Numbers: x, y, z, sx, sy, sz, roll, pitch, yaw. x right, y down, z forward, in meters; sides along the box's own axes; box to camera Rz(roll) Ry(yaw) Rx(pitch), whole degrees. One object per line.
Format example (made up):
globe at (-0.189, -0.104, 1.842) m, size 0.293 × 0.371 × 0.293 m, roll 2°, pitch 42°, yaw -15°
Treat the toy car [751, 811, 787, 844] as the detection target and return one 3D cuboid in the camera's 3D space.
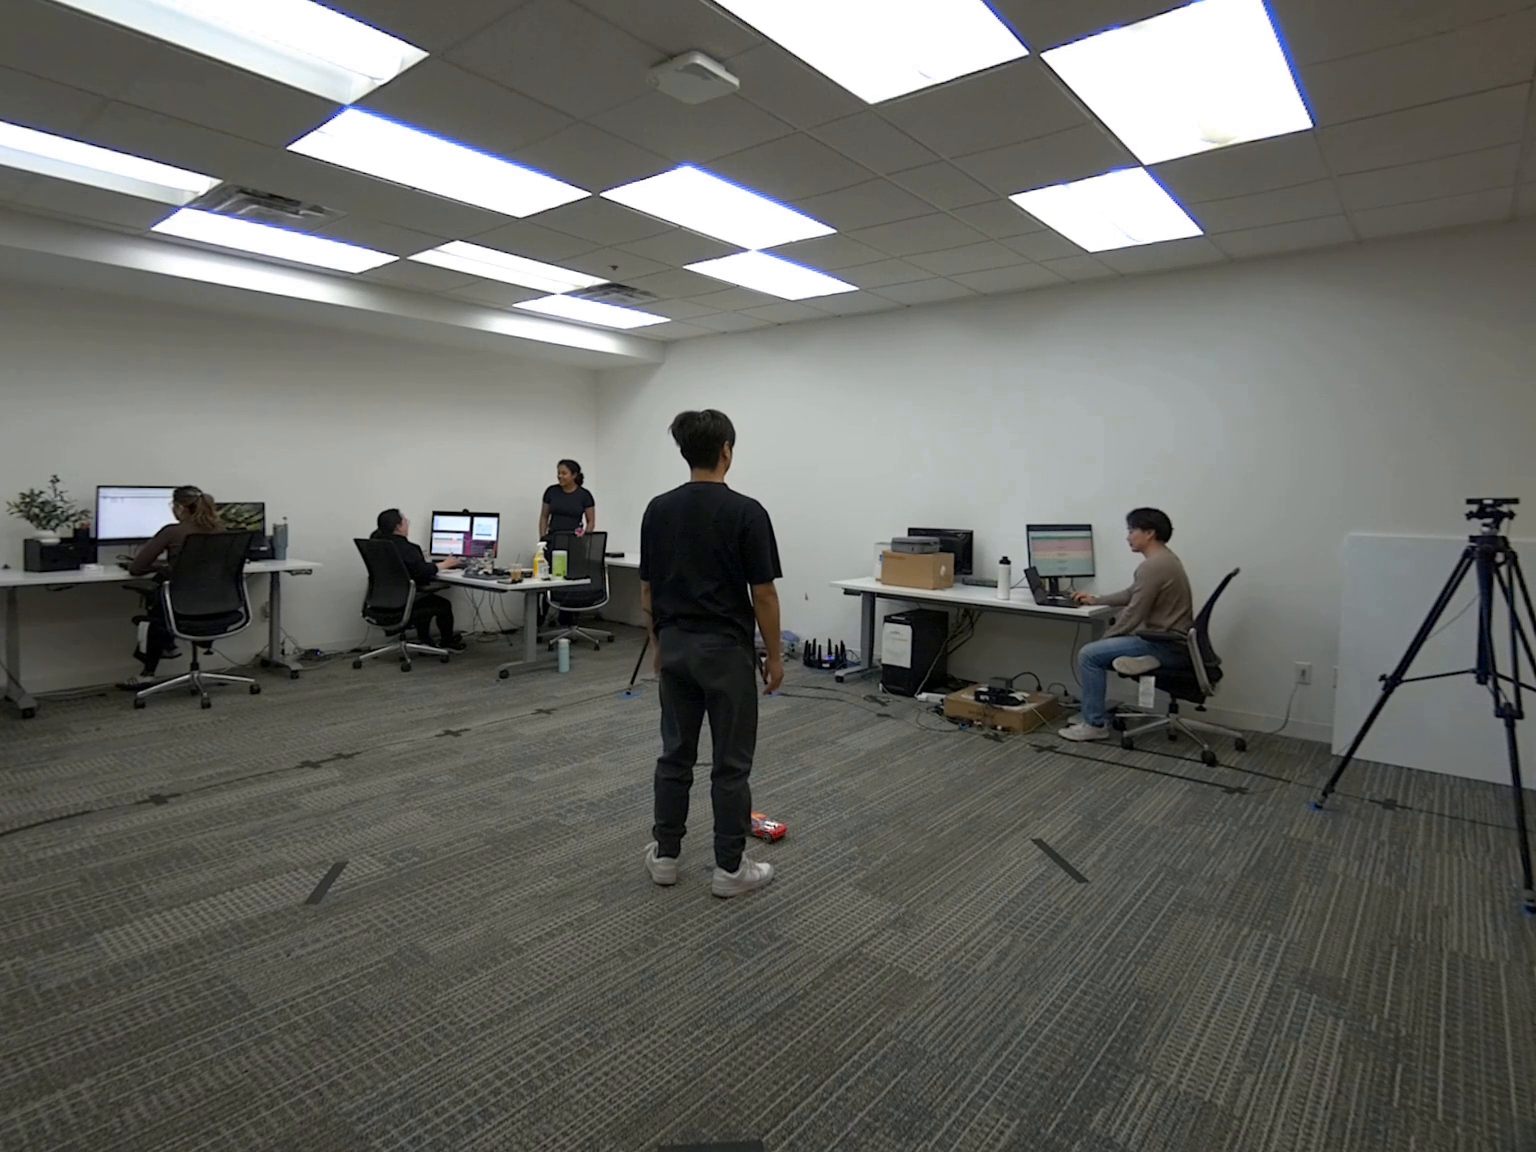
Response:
toy car at (-0.059, 1.004, 3.440) m, size 0.264 × 0.082 × 0.126 m, roll 17°, pitch 13°, yaw 35°
